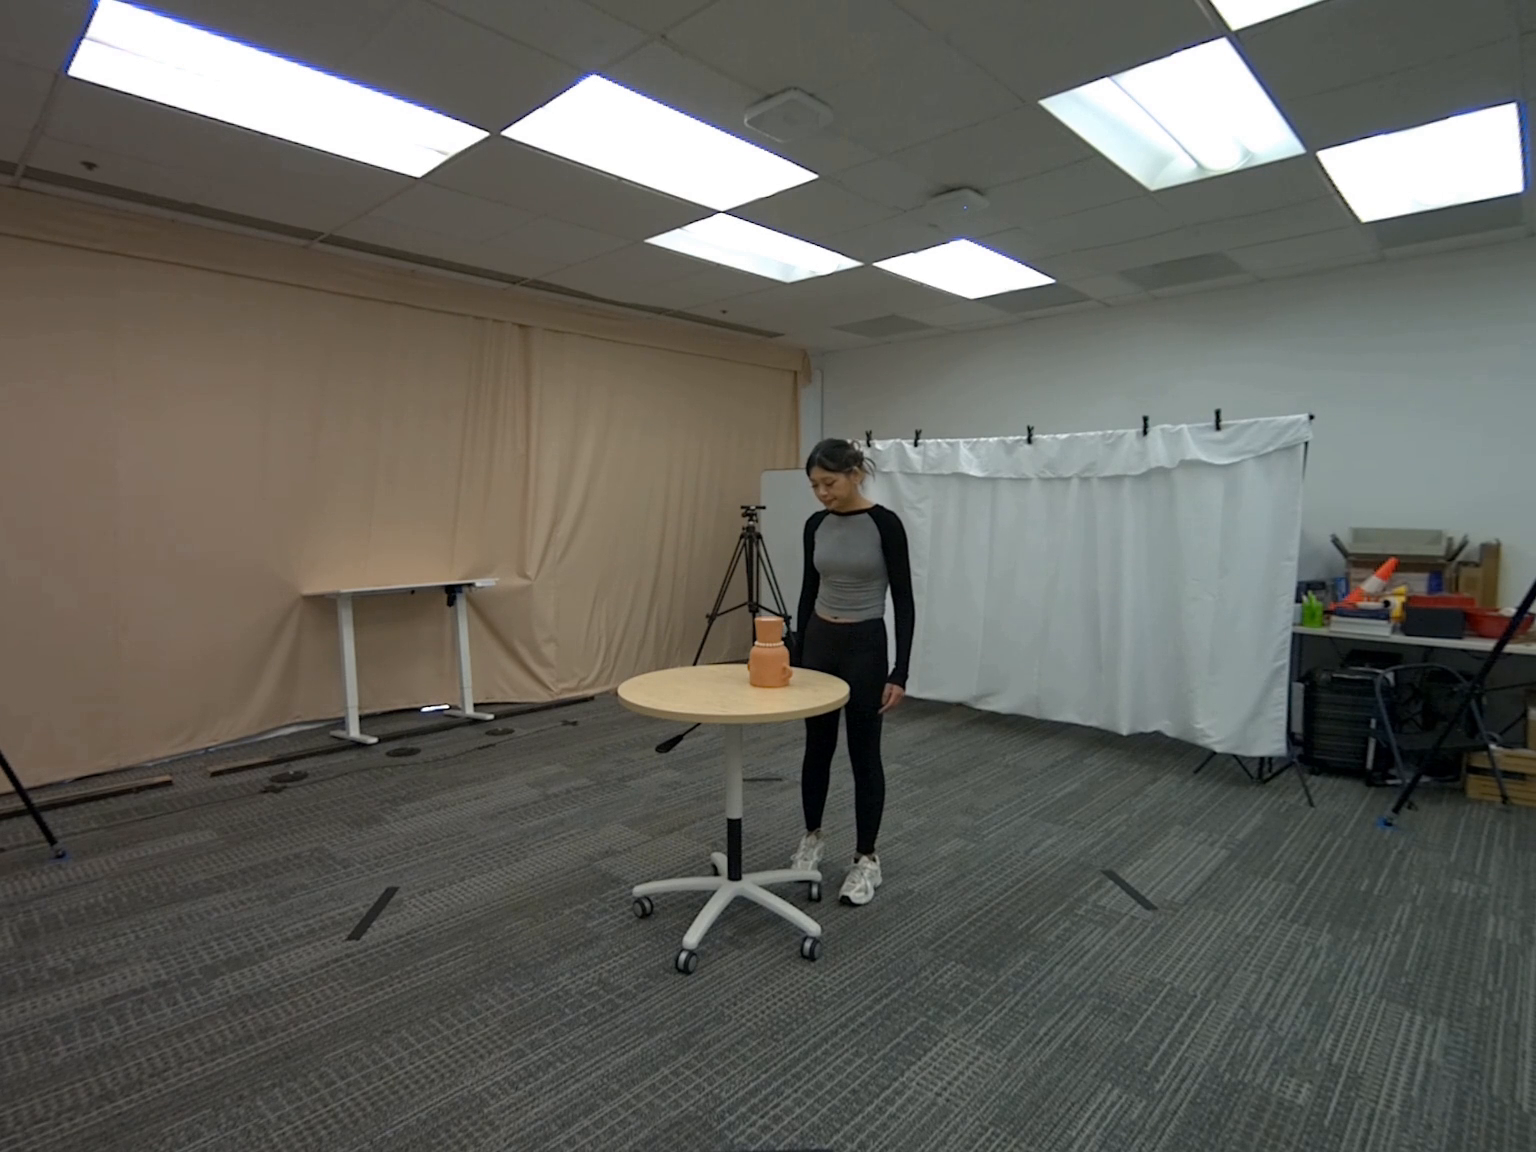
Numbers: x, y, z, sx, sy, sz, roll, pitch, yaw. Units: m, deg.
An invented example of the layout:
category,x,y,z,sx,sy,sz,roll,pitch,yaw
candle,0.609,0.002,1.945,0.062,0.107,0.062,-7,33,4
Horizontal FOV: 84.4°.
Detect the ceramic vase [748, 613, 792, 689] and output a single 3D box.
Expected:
category,x,y,z,sx,sy,sz,roll,pitch,yaw
ceramic vase,0.006,0.252,2.821,0.159,0.219,0.134,-1,3,3
